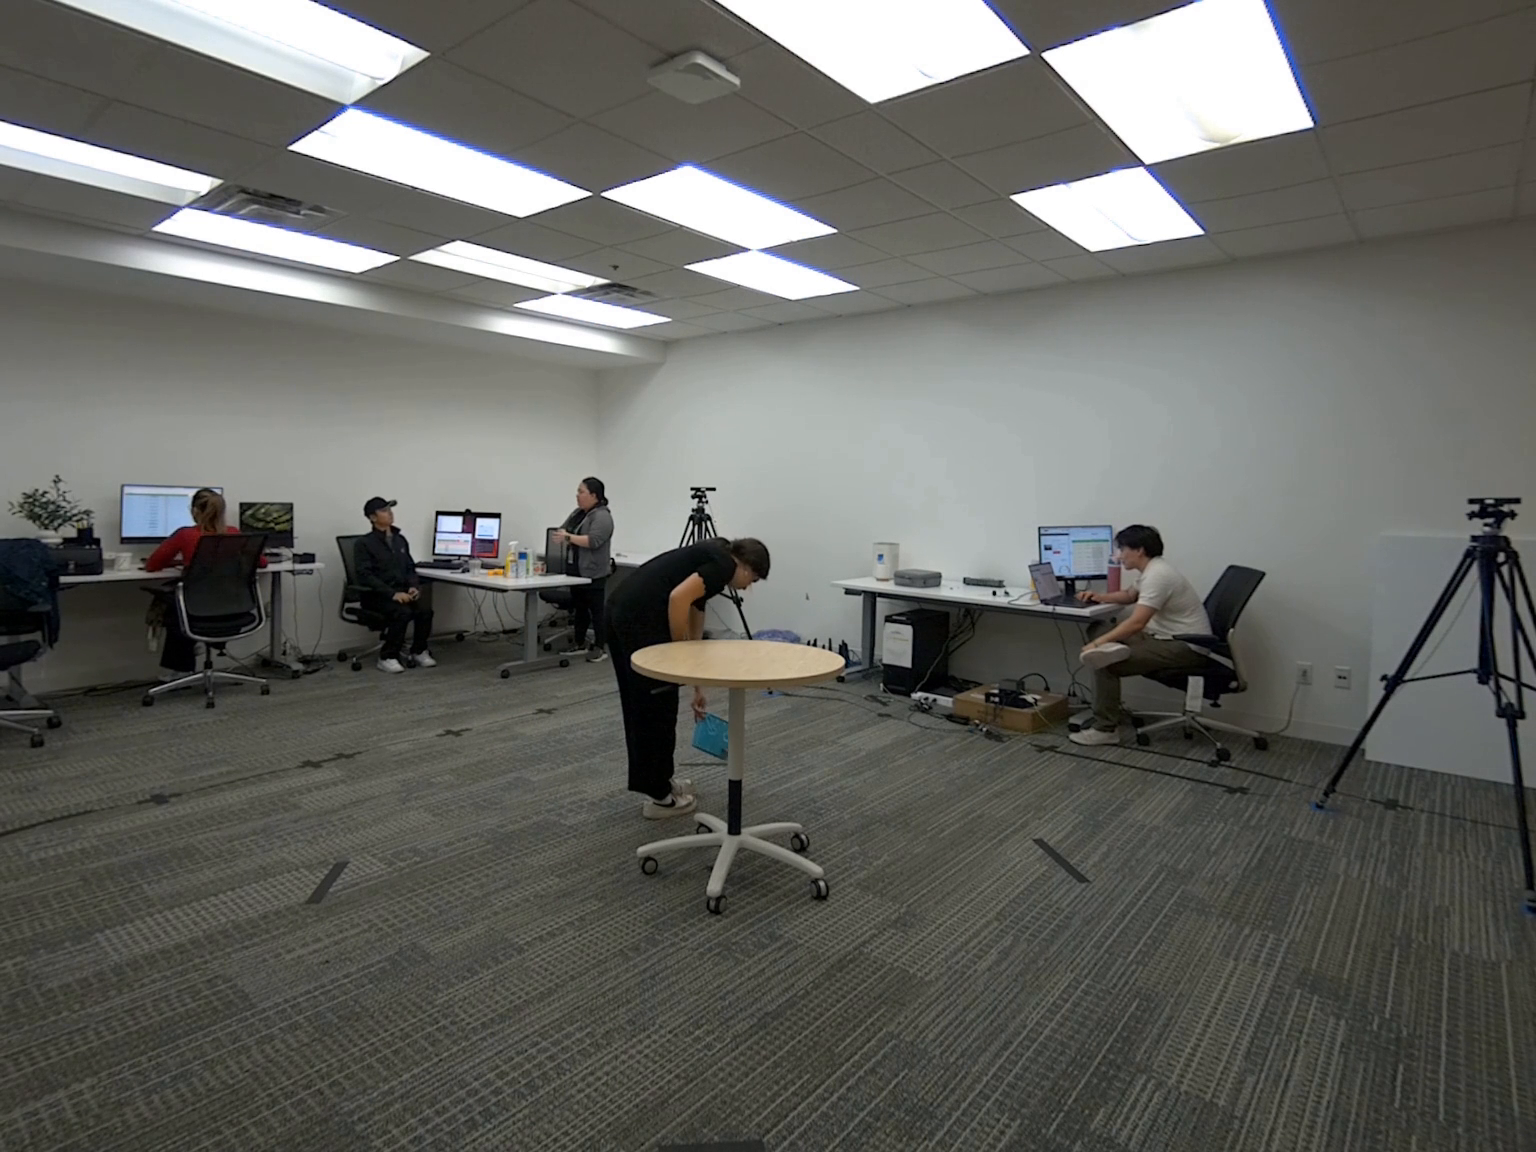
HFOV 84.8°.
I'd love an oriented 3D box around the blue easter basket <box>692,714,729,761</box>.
[{"bbox_3d":[-0.258,0.718,3.850,0.244,0.157,0.241,18,-10,2],"label":"blue easter basket"}]
